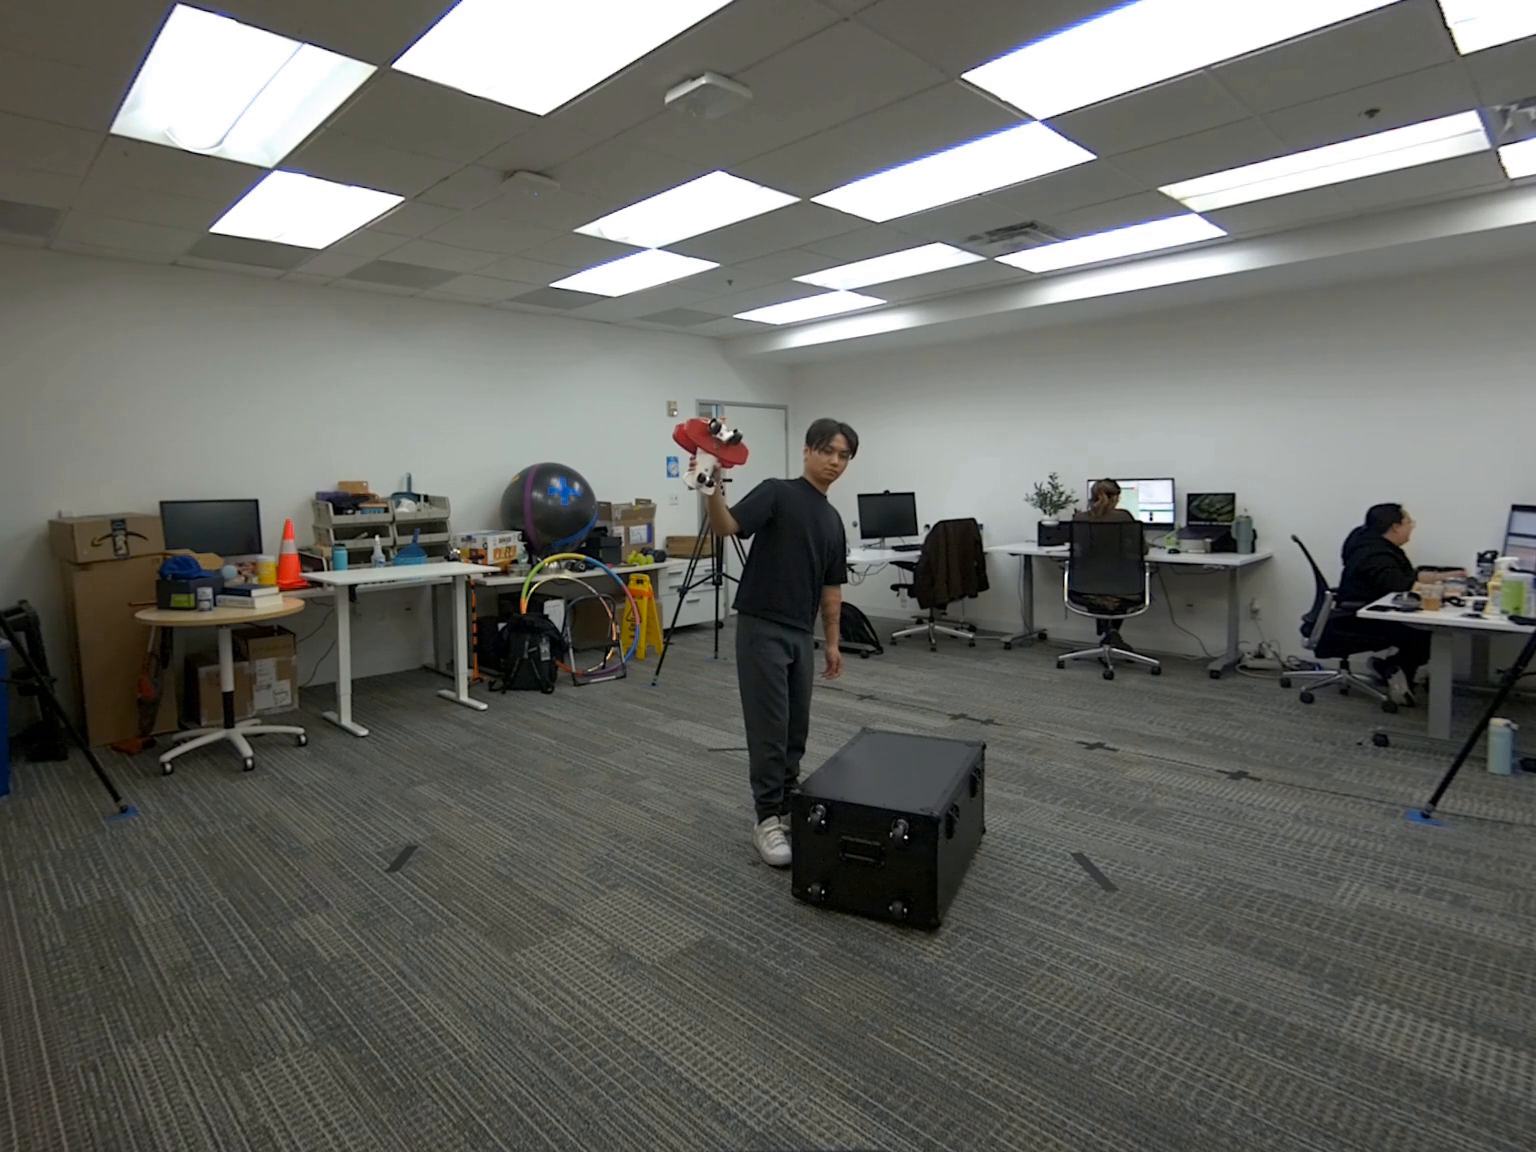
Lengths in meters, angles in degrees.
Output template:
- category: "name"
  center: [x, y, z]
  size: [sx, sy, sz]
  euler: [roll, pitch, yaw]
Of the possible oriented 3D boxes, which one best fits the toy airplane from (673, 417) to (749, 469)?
- category: "toy airplane"
  center: [-0.202, -0.418, 2.870]
  size: [0.258, 0.244, 0.161]
  euler: [-41, 23, -16]
